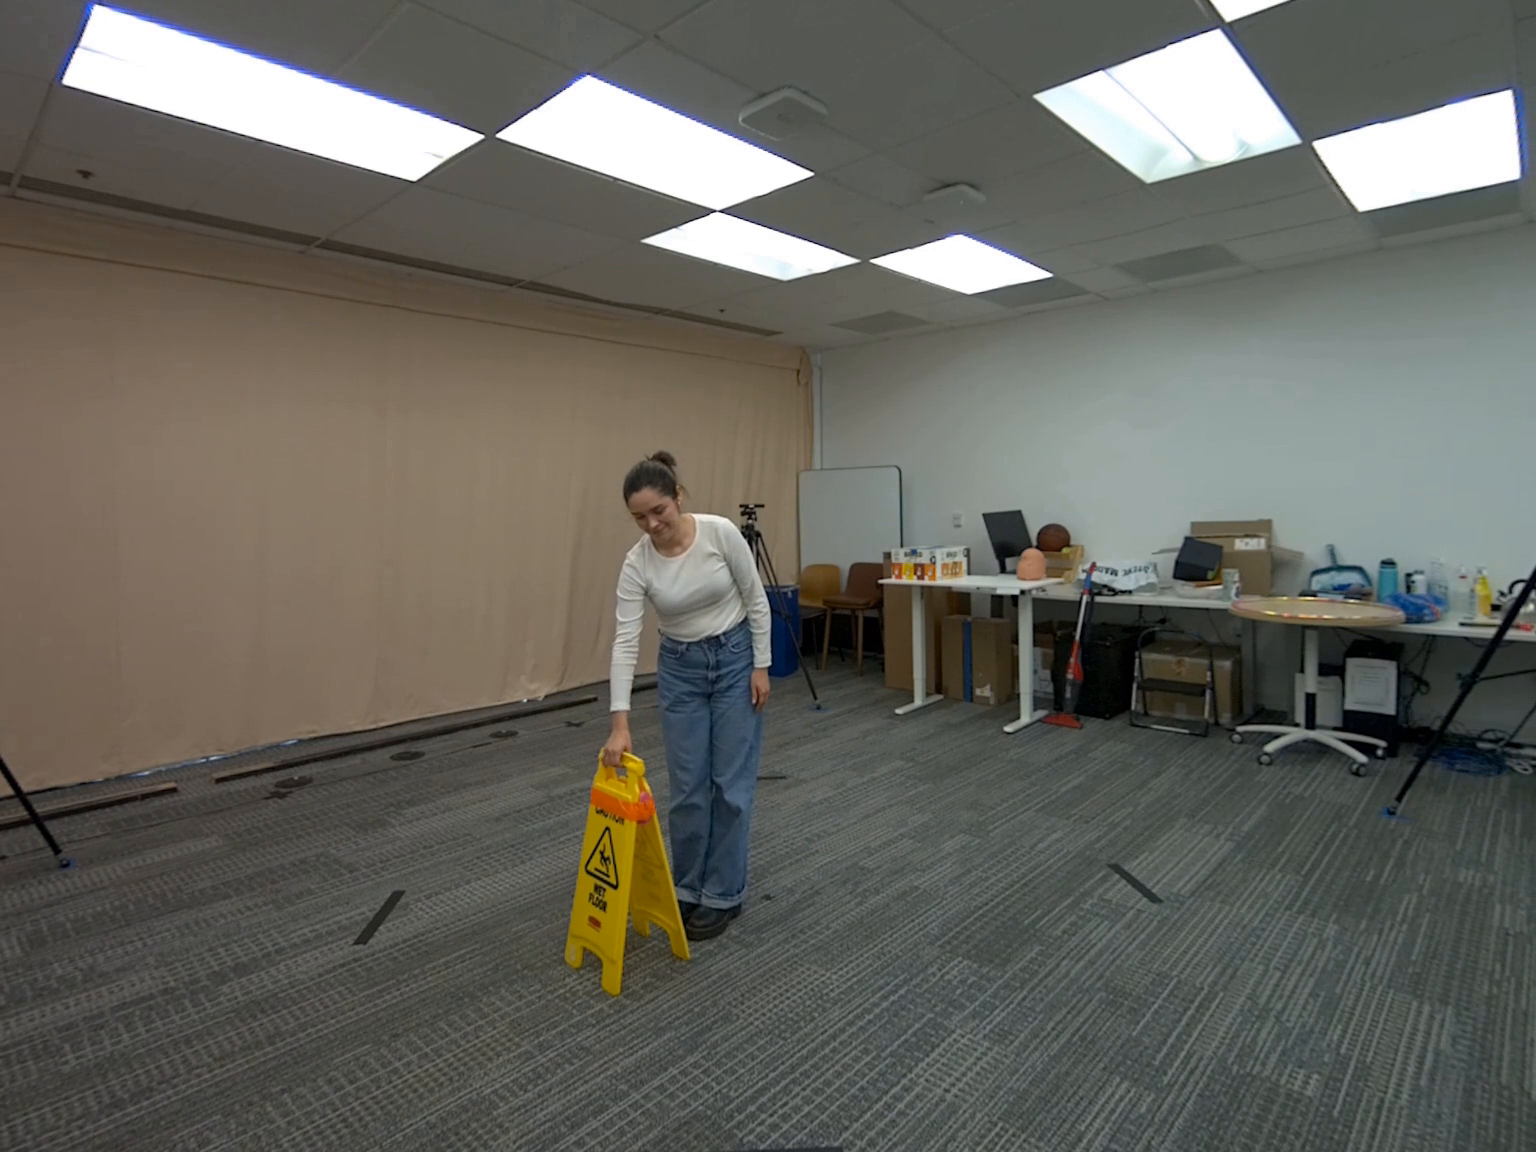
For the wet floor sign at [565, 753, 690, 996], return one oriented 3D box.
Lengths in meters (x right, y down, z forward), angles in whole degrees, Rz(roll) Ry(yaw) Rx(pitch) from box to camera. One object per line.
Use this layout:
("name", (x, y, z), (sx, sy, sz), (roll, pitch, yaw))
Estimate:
("wet floor sign", (-0.441, 0.855, 2.566), (0.281, 0.645, 0.291), (-5, 4, -43))
